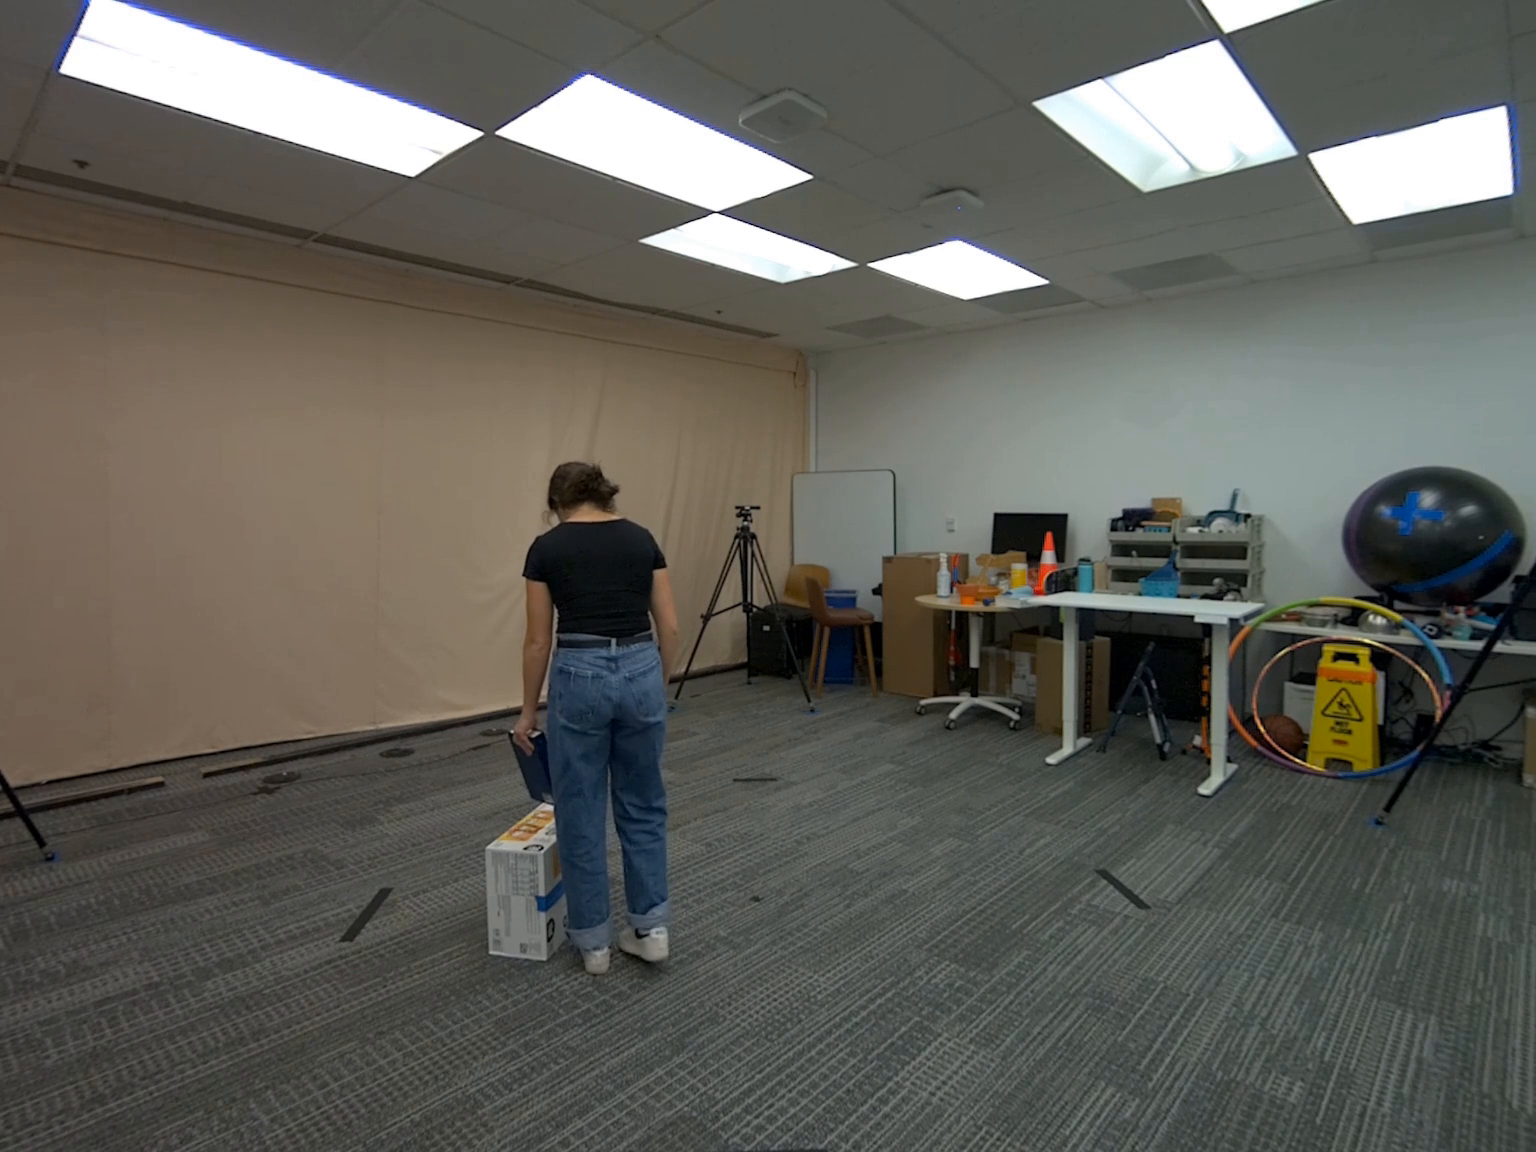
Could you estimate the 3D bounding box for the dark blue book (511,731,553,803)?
[{"bbox_3d":[-0.731,0.603,2.672,0.168,0.243,0.044,-2,16,44],"label":"dark blue book"}]
